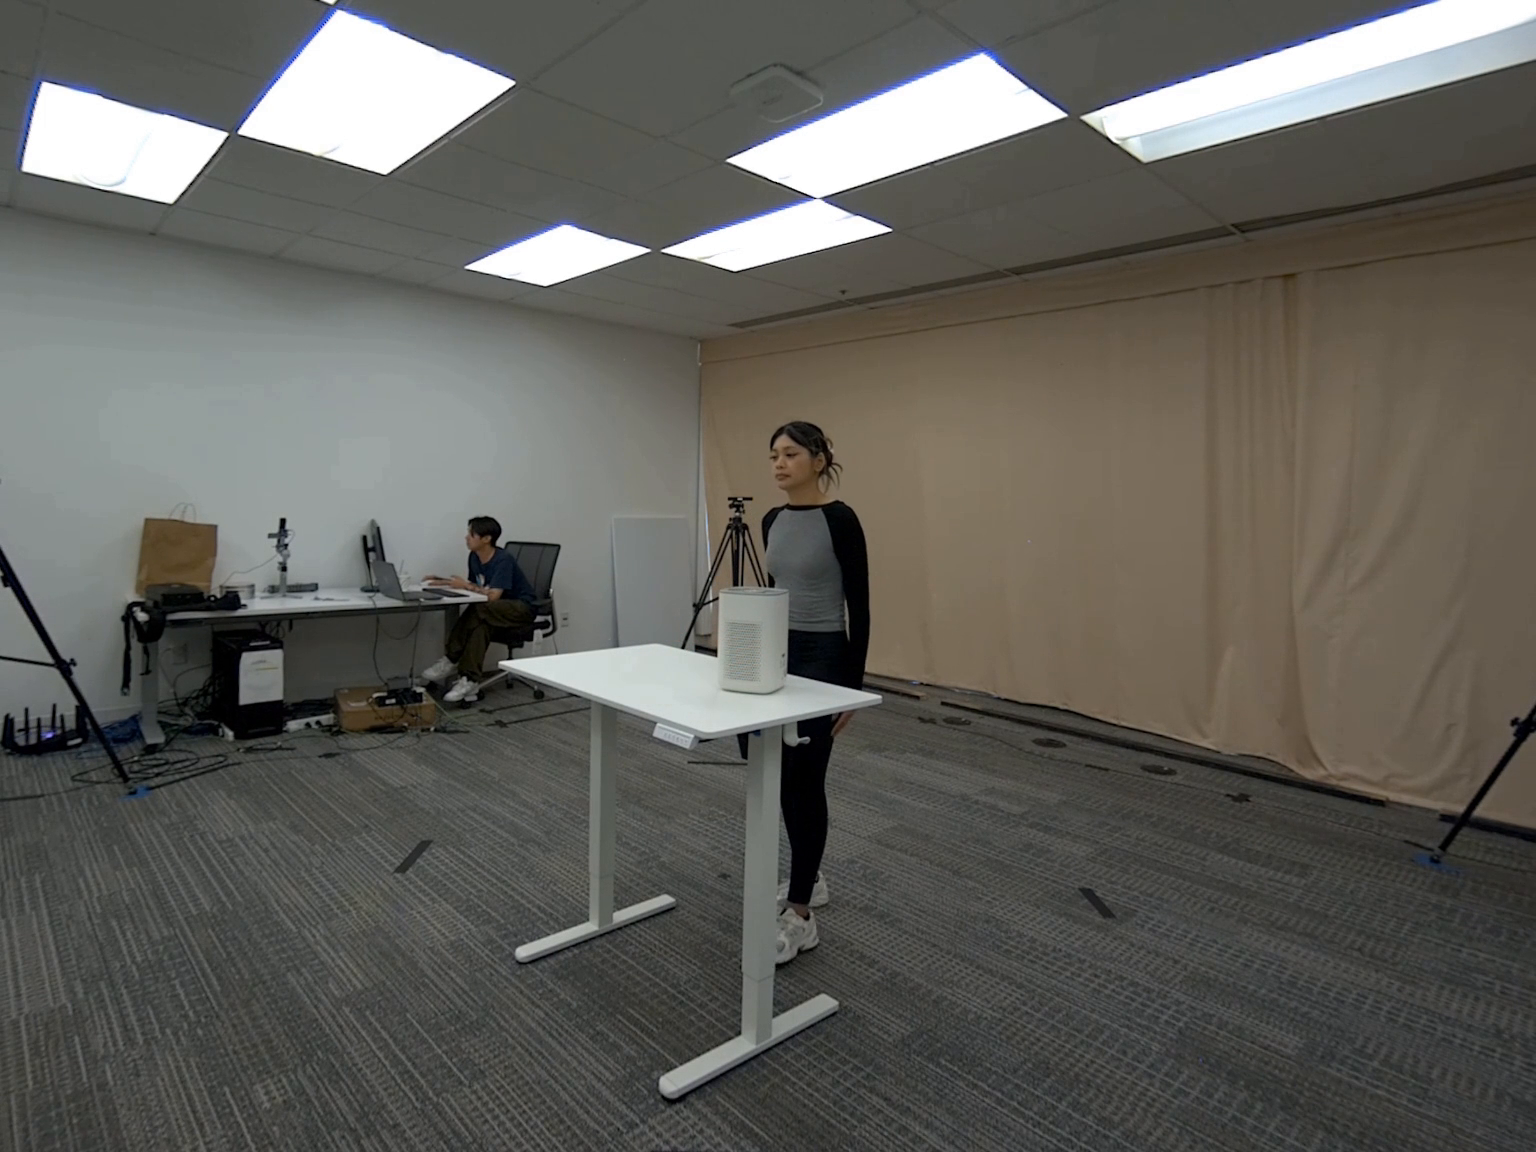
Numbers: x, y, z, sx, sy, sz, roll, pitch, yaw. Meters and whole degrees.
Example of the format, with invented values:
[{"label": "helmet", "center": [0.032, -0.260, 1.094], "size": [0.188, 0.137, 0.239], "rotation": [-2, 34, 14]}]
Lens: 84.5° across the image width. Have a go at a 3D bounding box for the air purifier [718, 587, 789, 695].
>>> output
[{"label": "air purifier", "center": [-0.044, 0.173, 2.258], "size": [0.174, 0.265, 0.169], "rotation": [3, 4, 17]}]
